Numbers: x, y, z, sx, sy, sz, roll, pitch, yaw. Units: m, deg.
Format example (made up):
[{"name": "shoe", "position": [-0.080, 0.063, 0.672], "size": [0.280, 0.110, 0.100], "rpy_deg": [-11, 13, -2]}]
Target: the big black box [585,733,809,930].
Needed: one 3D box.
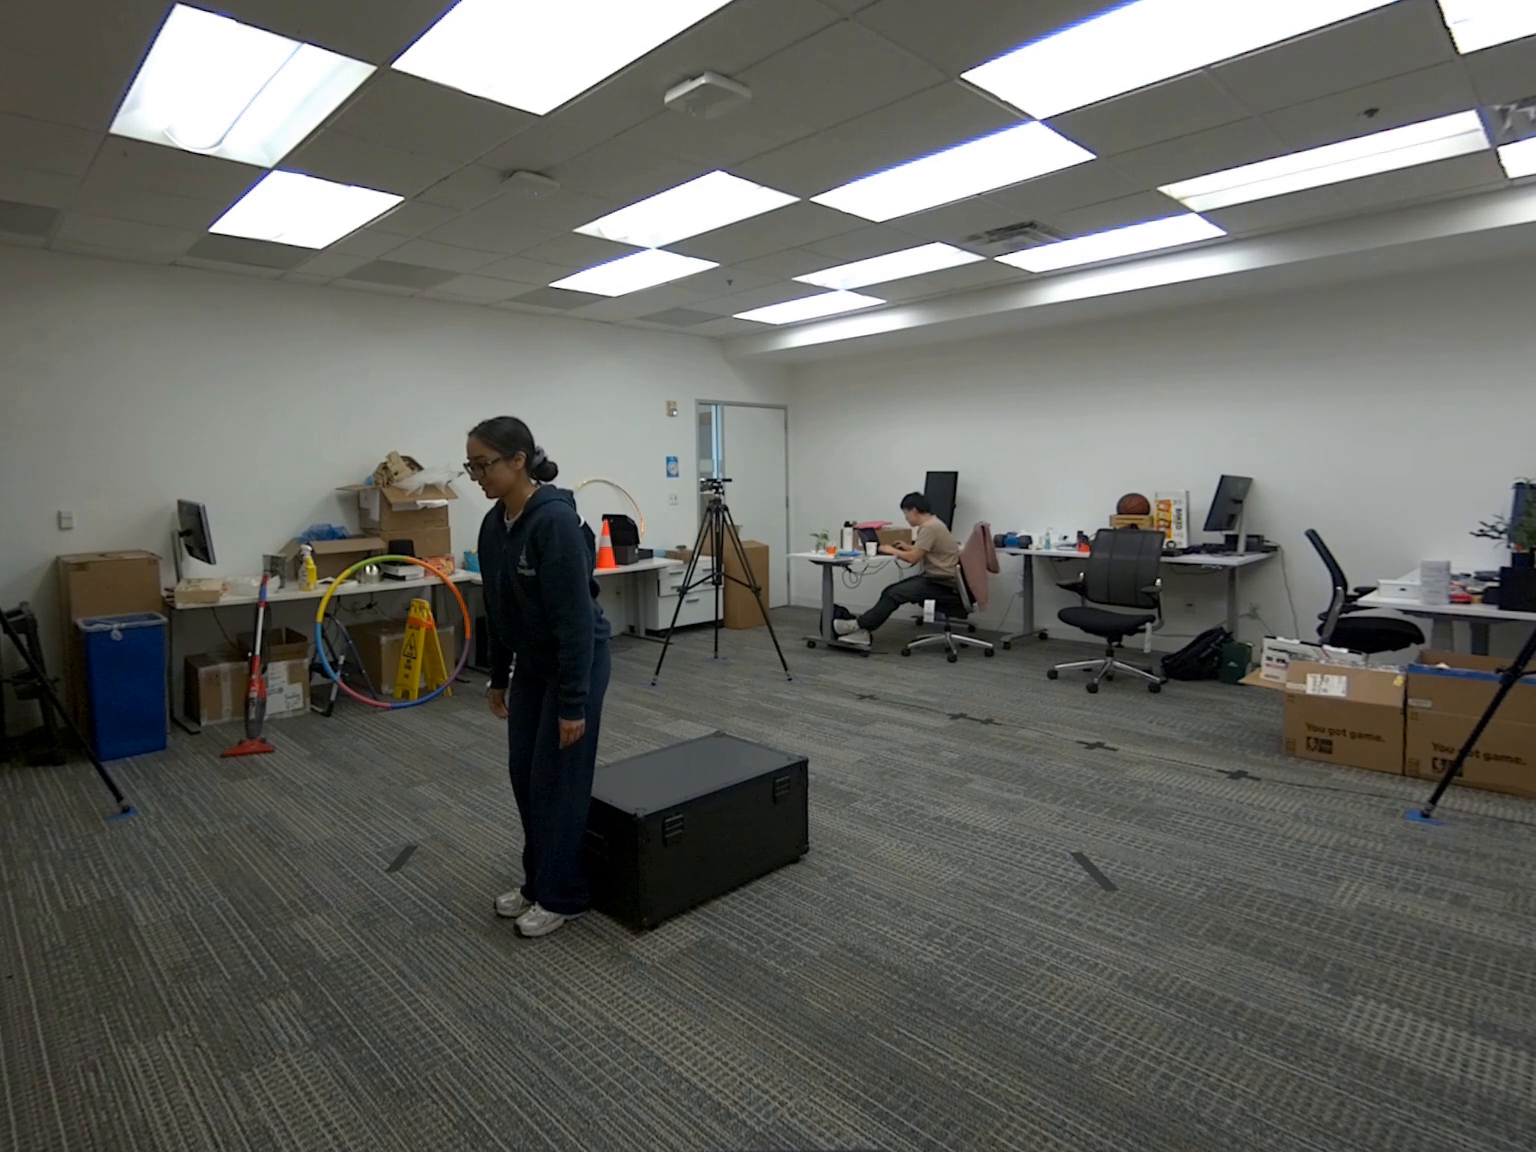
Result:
[{"name": "big black box", "position": [-0.264, 0.862, 3.058], "size": [0.840, 0.394, 0.537], "rpy_deg": [-9, 10, -44]}]
